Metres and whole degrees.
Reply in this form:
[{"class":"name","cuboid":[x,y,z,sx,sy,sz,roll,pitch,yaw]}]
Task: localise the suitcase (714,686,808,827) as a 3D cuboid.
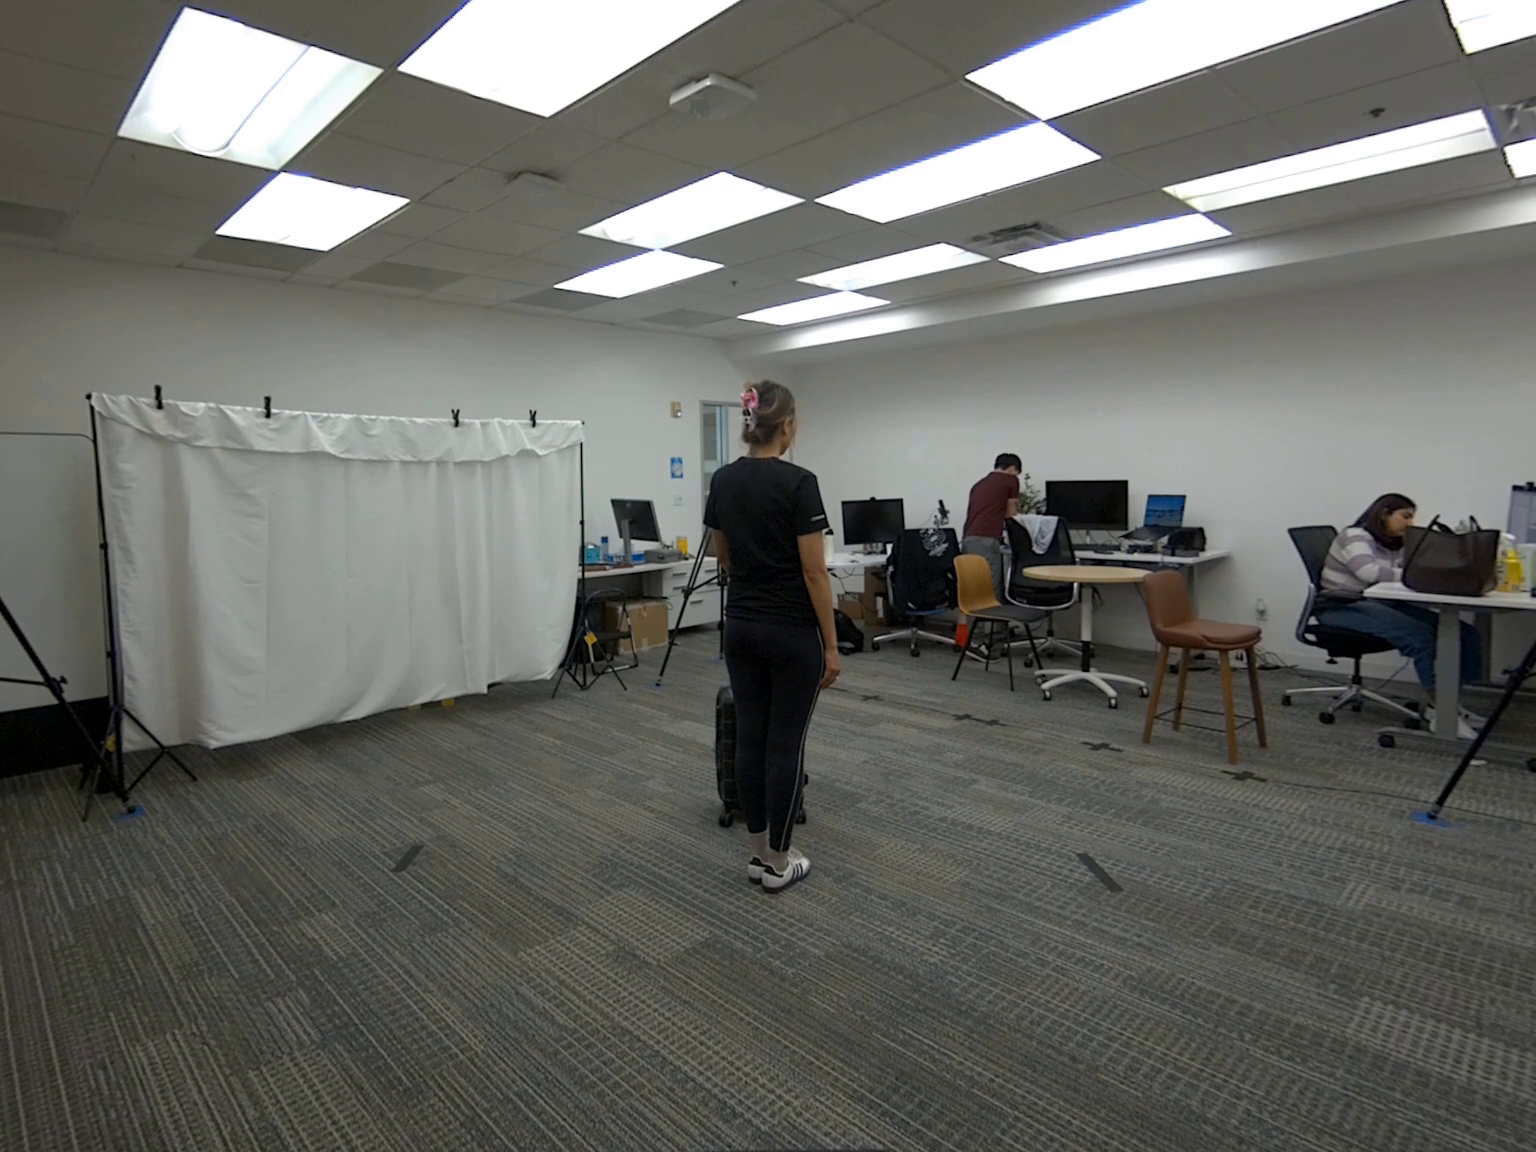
[{"class":"suitcase","cuboid":[-0.035,0.520,3.568,0.383,0.979,0.258,-1,0,-4]}]
